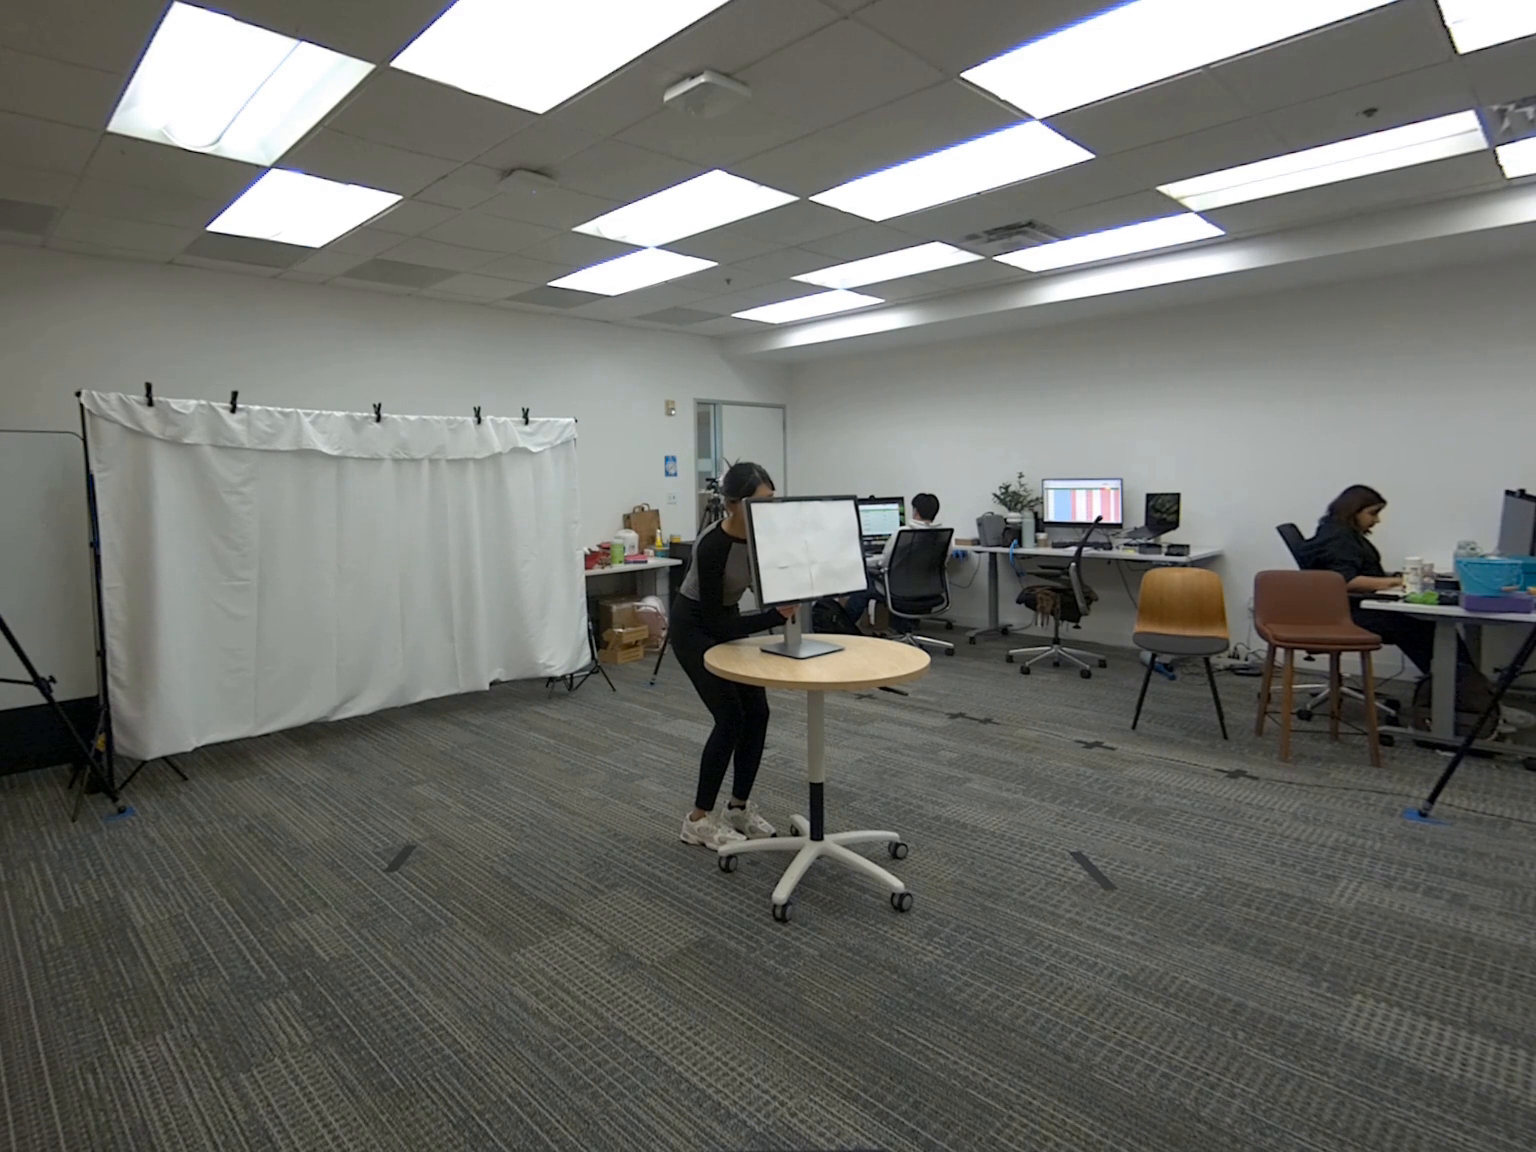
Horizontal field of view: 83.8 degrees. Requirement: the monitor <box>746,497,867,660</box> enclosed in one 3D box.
[{"bbox_3d":[0.120,-0.003,2.981,0.525,0.520,0.193,-6,8,-45],"label":"monitor"}]
